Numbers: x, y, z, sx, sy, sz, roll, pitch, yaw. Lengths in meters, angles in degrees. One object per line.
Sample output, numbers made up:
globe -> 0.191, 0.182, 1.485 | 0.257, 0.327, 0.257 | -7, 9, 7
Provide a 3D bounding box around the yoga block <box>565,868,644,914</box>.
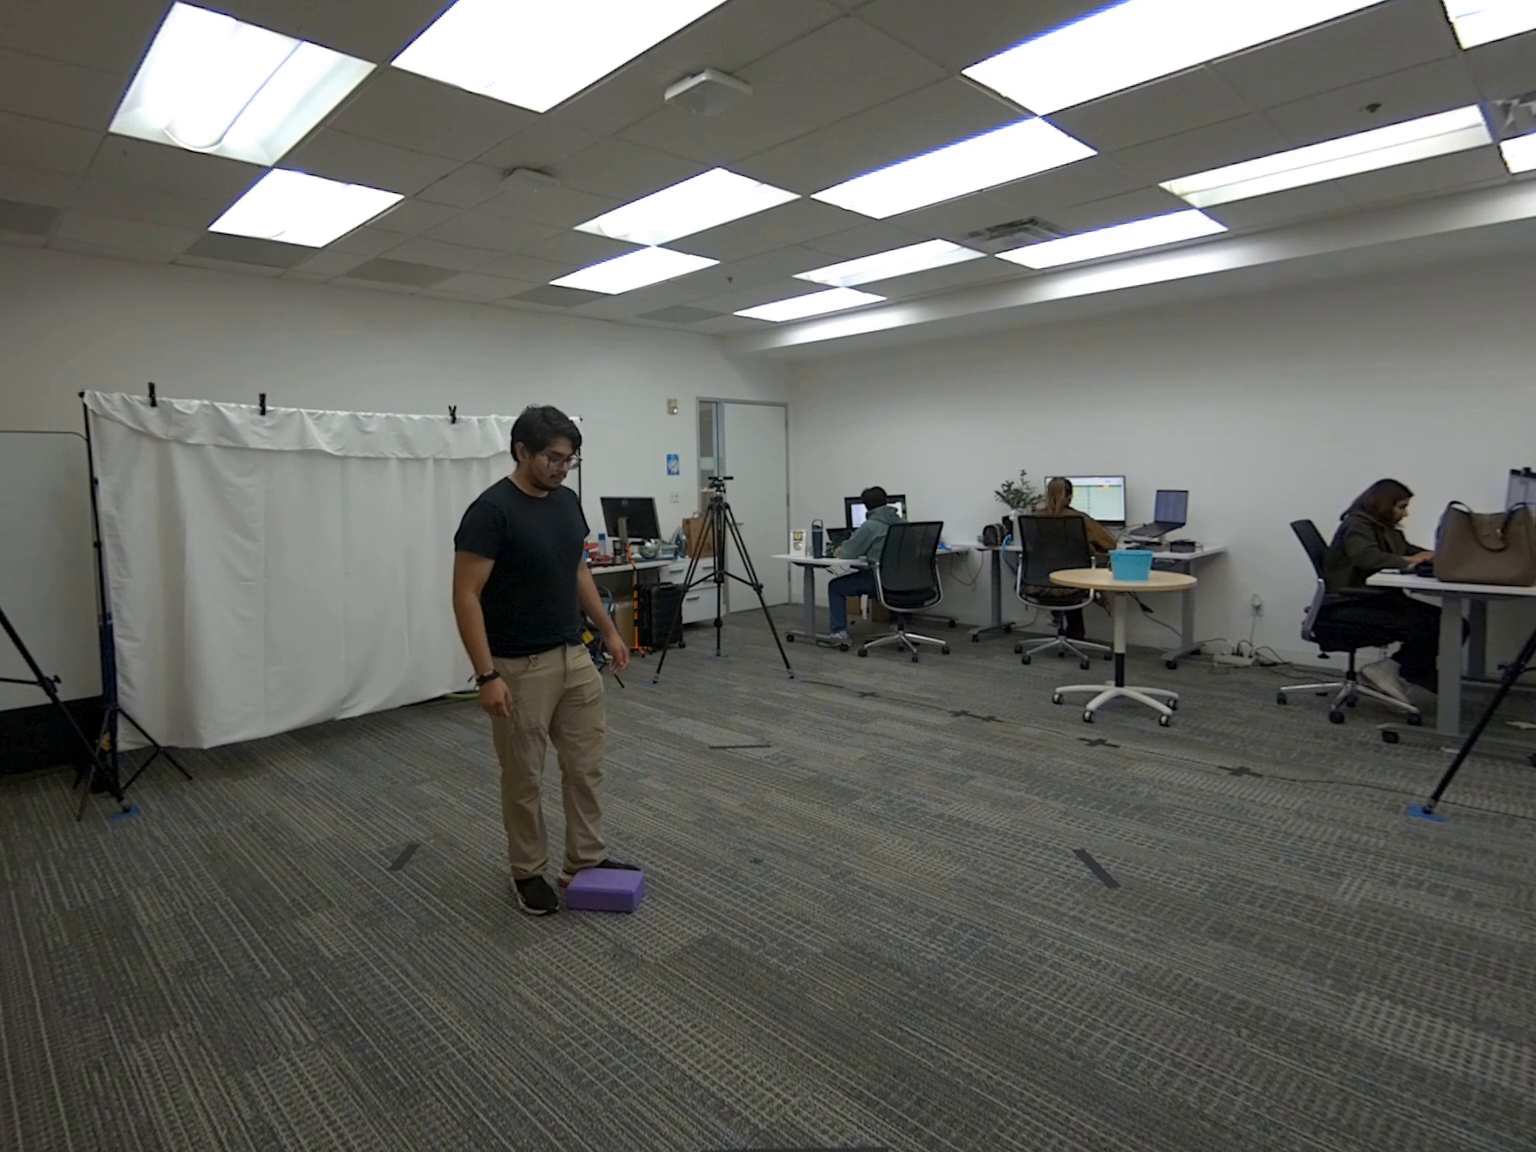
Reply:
yoga block -> -0.537, 1.032, 2.837 | 0.231, 0.076, 0.148 | 0, 5, 8
